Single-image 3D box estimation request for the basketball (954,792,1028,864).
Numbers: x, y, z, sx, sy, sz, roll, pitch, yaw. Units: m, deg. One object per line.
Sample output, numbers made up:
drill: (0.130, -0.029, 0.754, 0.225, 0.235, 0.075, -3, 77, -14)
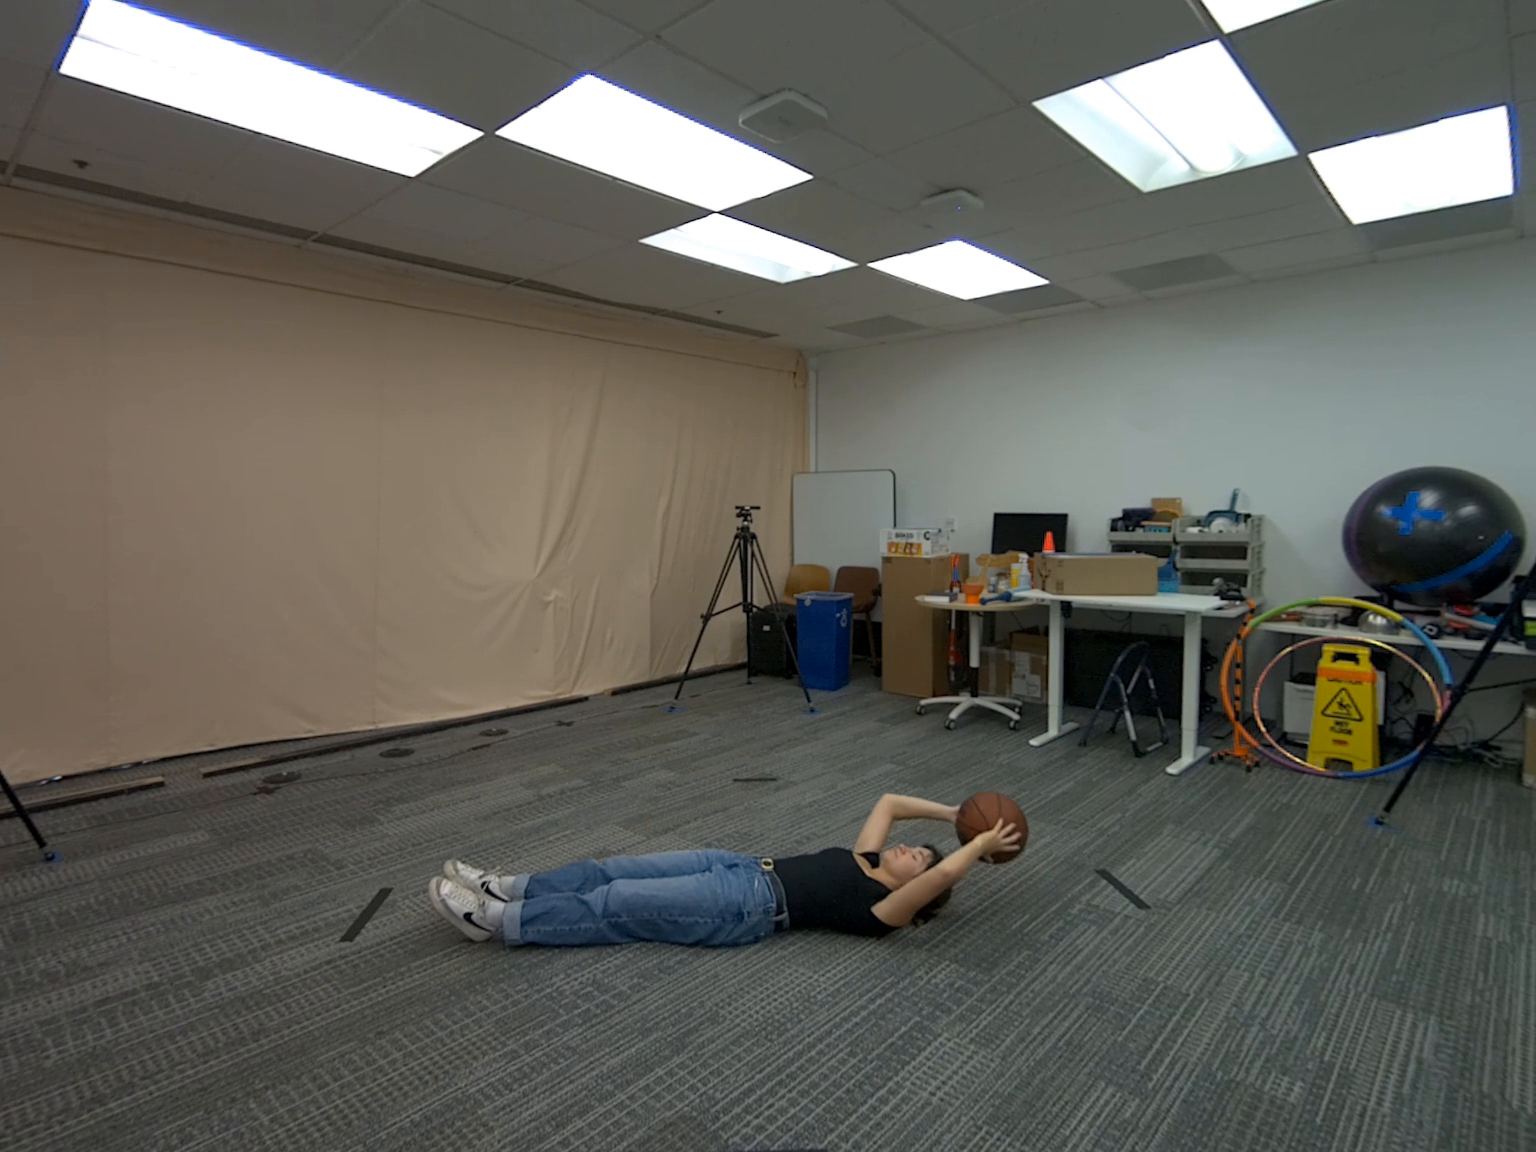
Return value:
basketball: (0.756, 0.855, 2.892, 0.236, 0.235, 0.237, 0, 4, -2)
